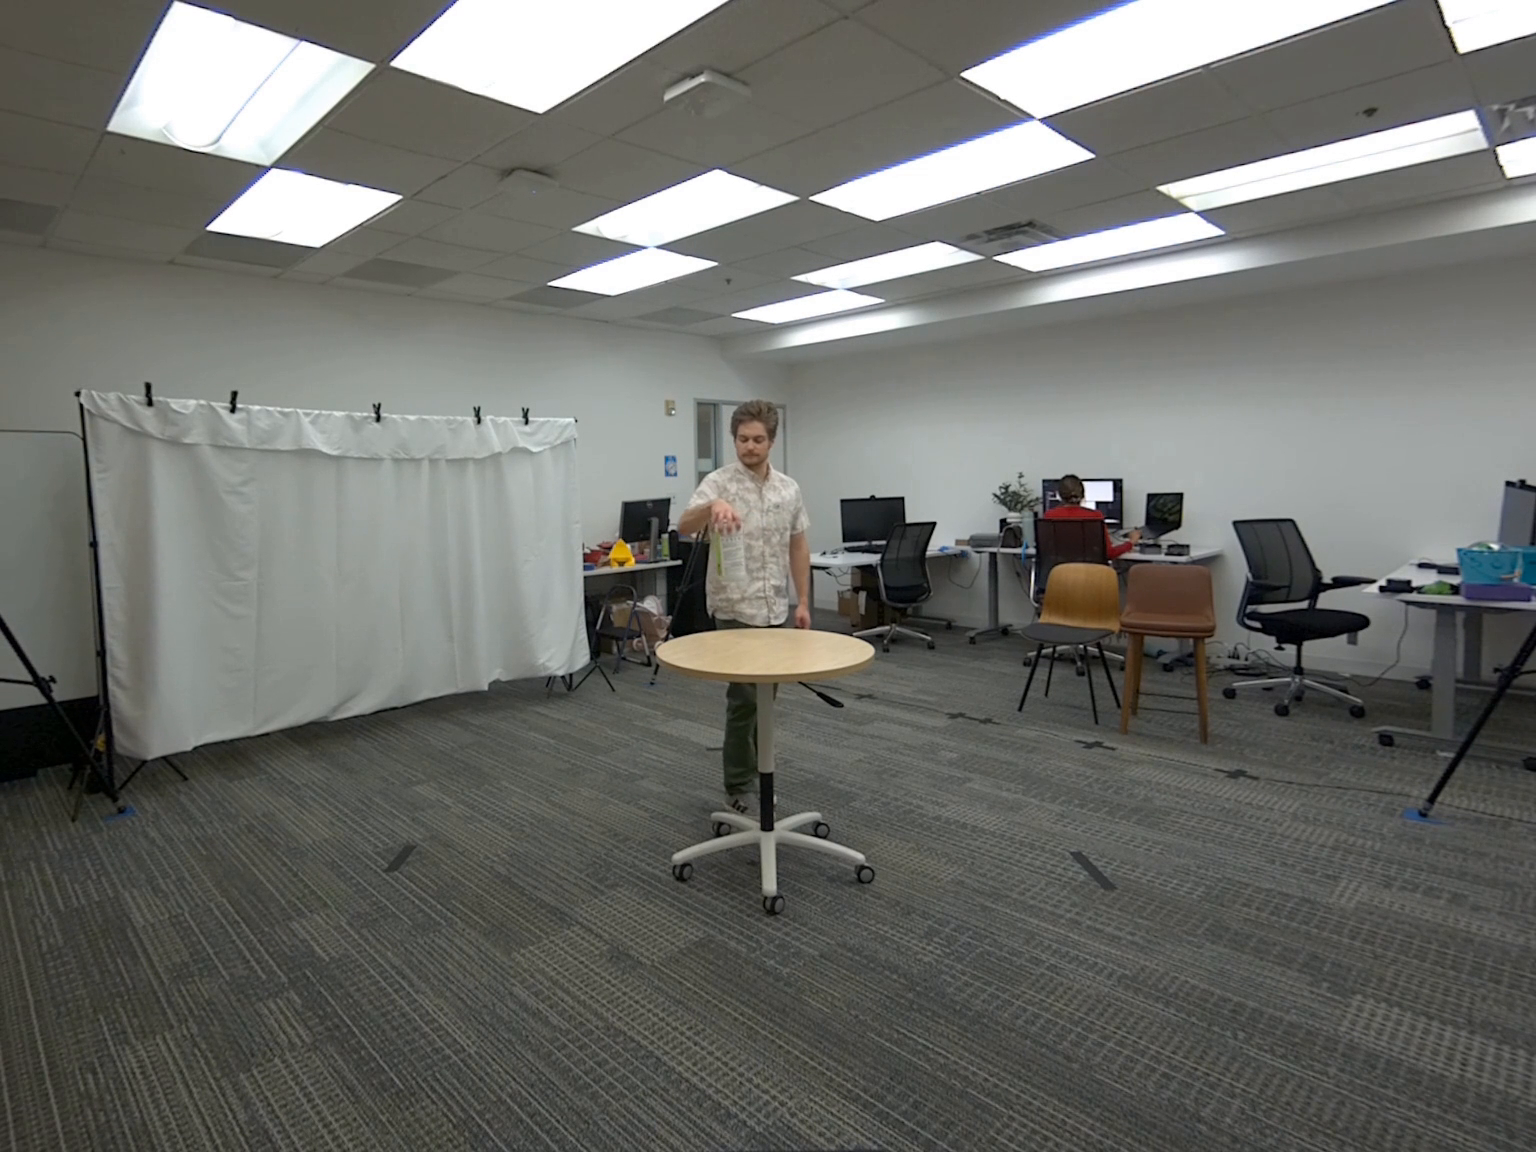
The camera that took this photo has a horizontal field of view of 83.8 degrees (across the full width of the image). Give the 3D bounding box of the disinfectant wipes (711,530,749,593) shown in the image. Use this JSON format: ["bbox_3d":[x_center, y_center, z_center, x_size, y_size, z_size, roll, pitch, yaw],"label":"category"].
[{"bbox_3d":[-0.138,-0.090,3.181,0.118,0.215,0.119,-4,9,-1],"label":"disinfectant wipes"}]
